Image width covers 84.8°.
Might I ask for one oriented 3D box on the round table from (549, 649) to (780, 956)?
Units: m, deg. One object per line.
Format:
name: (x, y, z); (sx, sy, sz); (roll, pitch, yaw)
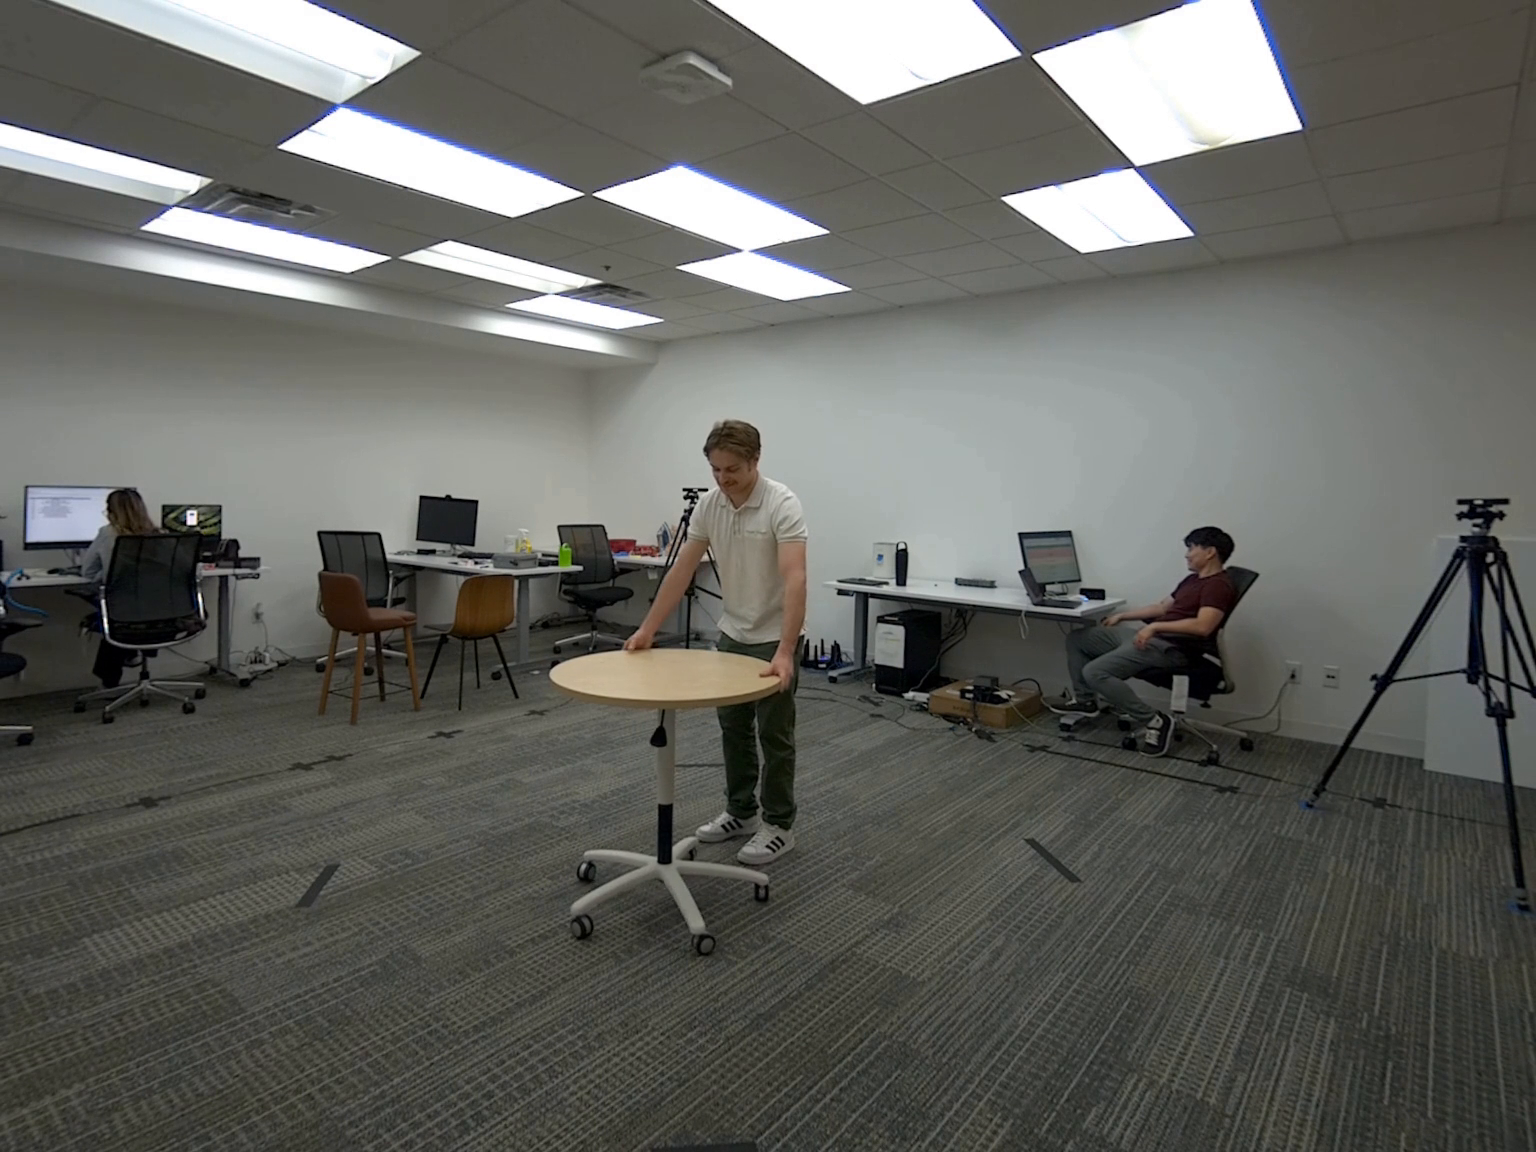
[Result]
round table: (-0.357, 0.705, 2.833); (0.763, 0.791, 0.768); (0, 4, -2)
